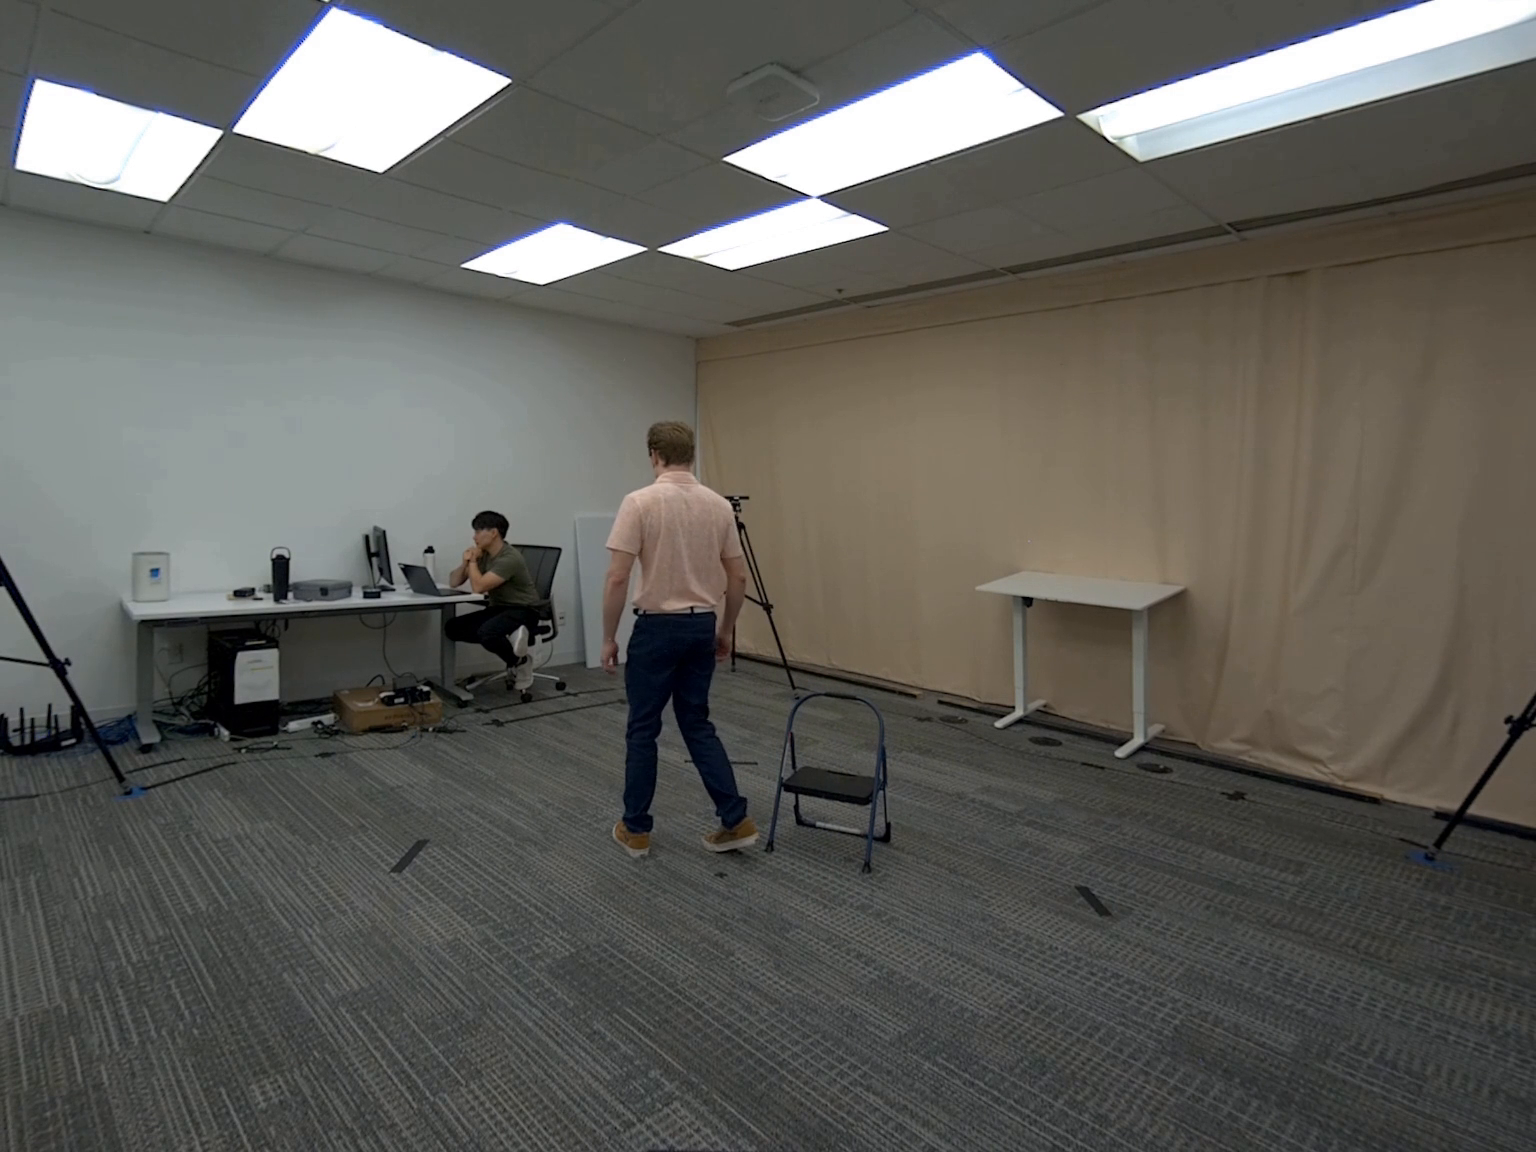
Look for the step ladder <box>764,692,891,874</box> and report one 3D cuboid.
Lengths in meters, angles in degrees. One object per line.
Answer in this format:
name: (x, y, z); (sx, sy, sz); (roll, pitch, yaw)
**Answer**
step ladder: (0.253, 0.787, 3.378); (0.439, 0.604, 0.343); (4, 4, 24)
